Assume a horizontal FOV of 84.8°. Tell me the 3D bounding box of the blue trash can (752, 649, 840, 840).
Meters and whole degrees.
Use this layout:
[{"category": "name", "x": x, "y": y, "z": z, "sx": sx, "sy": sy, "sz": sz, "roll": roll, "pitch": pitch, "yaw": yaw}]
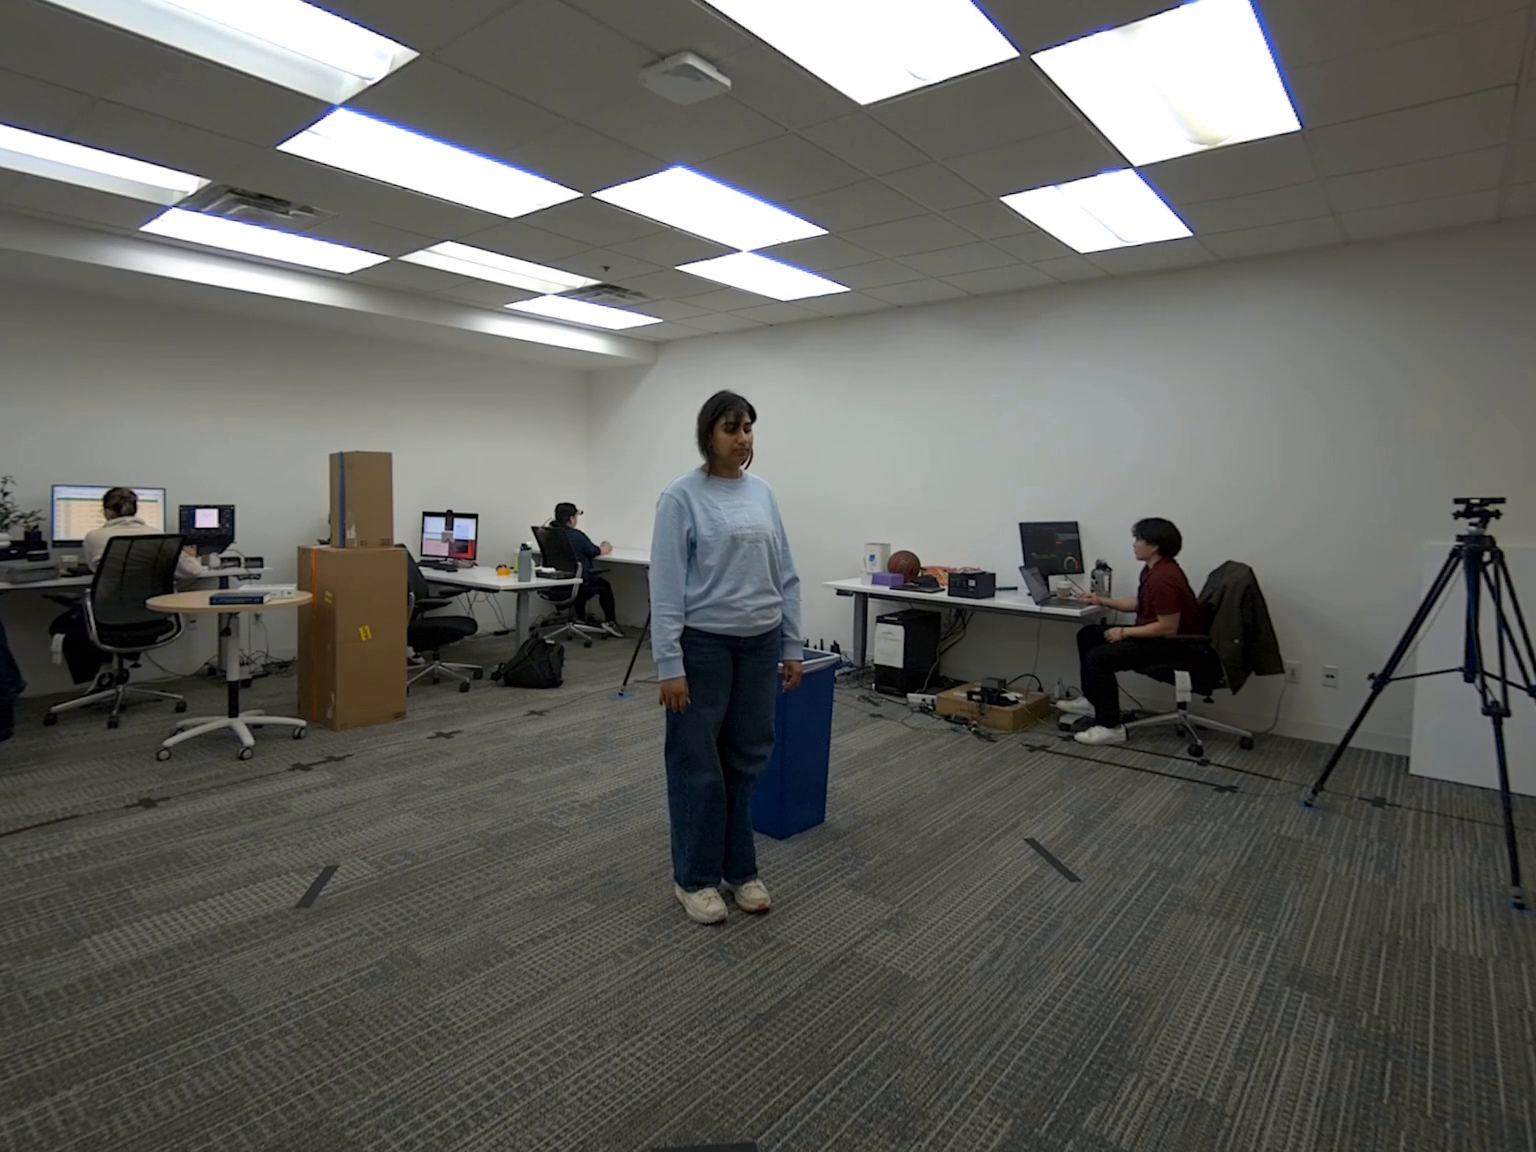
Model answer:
[{"category": "blue trash can", "x": 0.045, "y": 0.672, "z": 3.562, "sx": 0.387, "sy": 0.711, "sz": 0.367, "roll": 4, "pitch": 5, "yaw": 42}]
